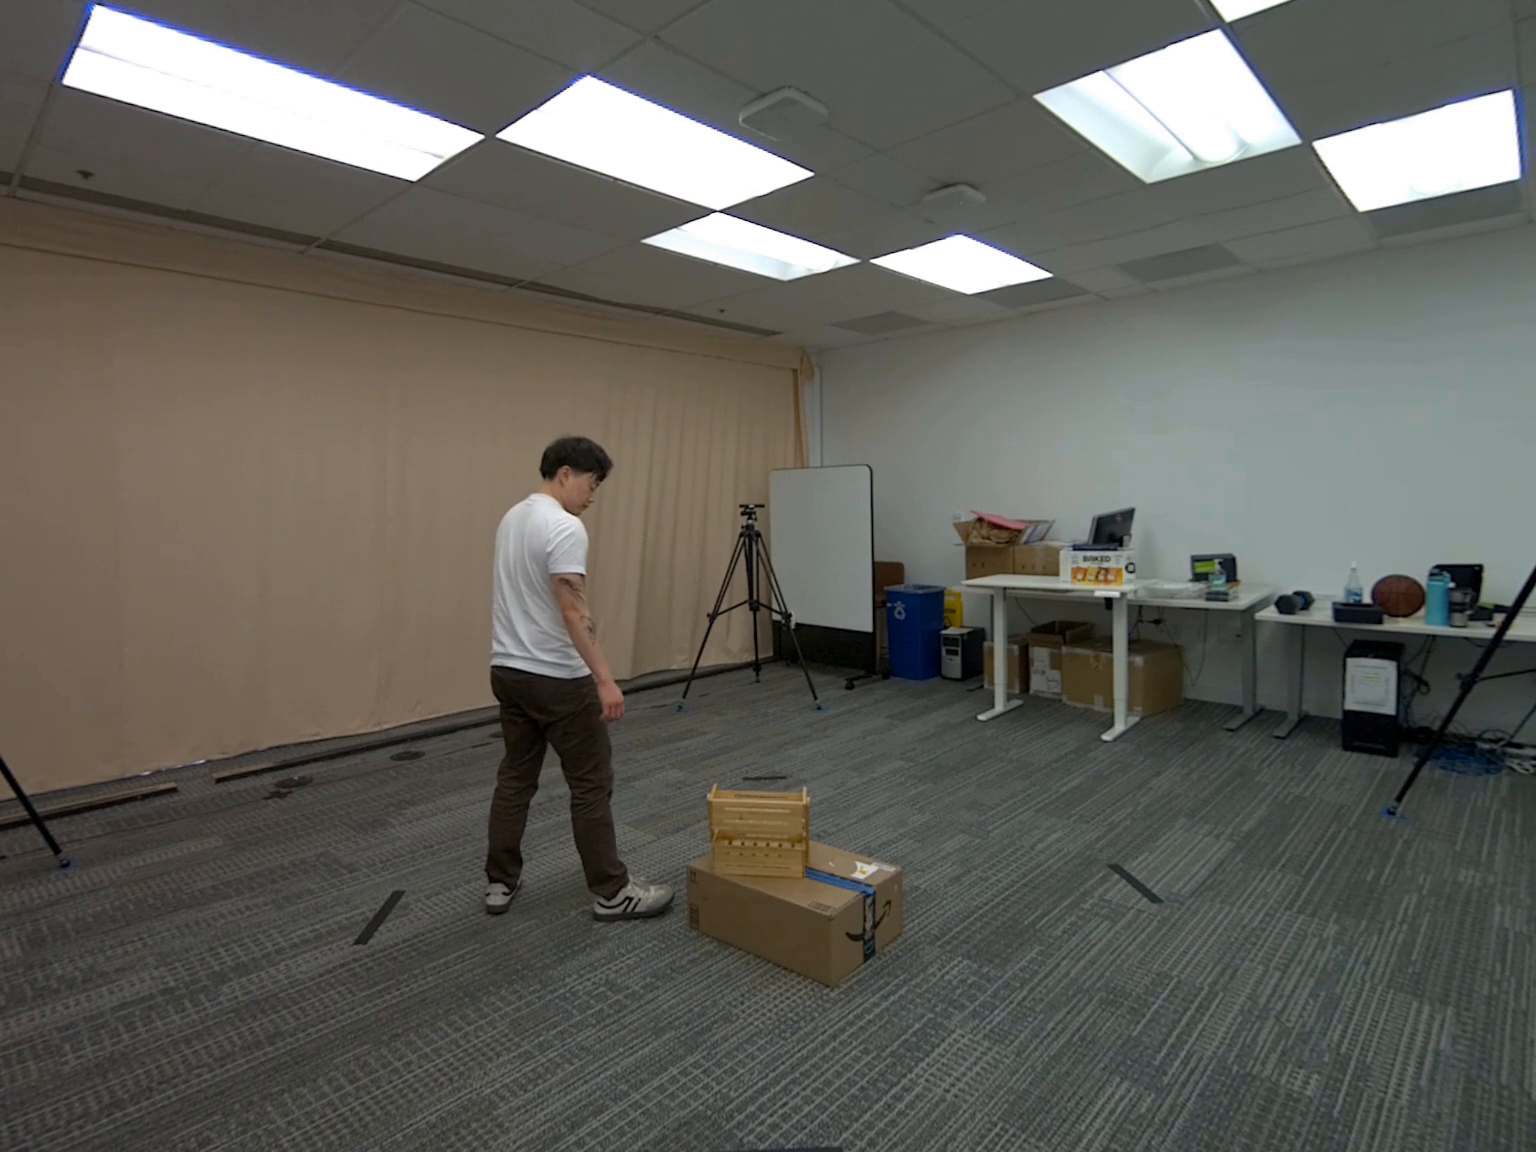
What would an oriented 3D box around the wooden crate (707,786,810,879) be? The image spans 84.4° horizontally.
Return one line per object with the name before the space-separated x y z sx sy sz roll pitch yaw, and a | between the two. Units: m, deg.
wooden crate | -0.022 0.809 2.766 0.326 0.272 0.301 1 5 5
